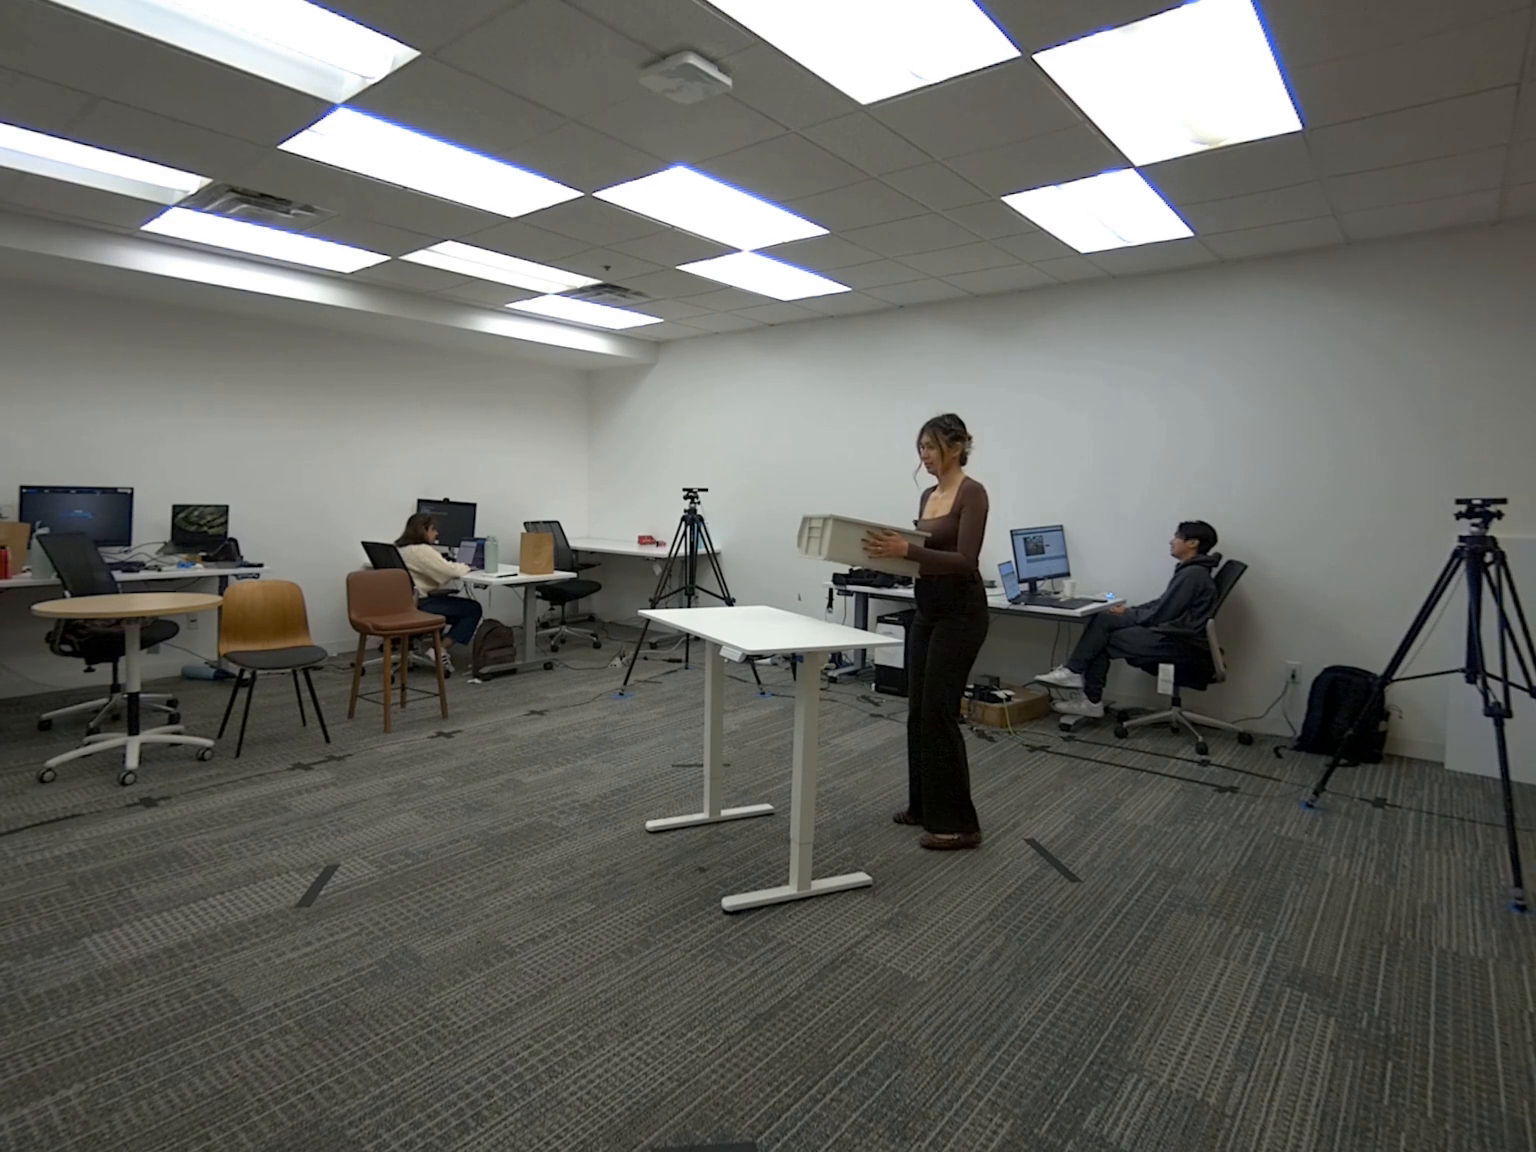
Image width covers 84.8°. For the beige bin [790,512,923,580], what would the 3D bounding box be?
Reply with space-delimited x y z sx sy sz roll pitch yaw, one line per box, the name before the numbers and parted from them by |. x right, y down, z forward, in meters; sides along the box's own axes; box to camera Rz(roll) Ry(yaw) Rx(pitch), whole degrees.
beige bin | 0.363 -0.129 3.448 0.415 0.189 0.384 10 1 -14
